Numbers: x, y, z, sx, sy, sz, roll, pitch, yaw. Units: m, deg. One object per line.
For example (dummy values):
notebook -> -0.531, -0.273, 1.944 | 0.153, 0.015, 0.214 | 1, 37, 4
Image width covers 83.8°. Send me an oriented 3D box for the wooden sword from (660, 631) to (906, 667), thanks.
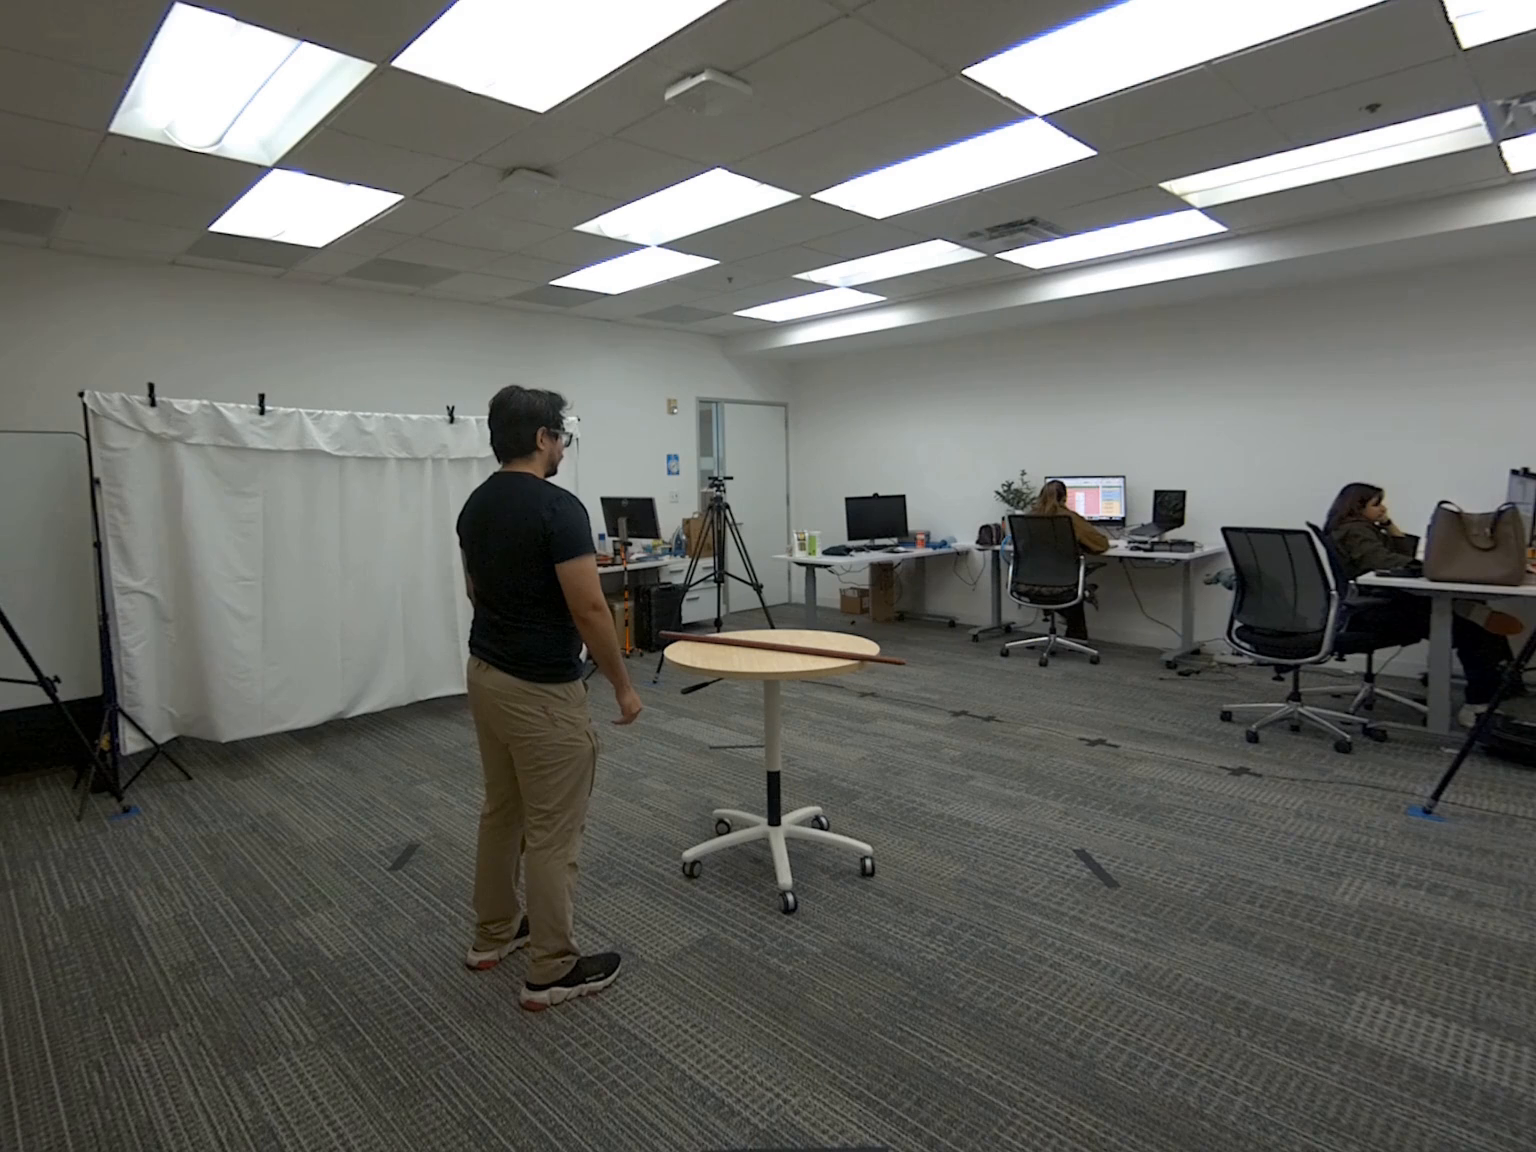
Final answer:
wooden sword -> 0.010, 0.257, 2.998 | 1.054, 0.024, 0.049 | 4, -20, 35
